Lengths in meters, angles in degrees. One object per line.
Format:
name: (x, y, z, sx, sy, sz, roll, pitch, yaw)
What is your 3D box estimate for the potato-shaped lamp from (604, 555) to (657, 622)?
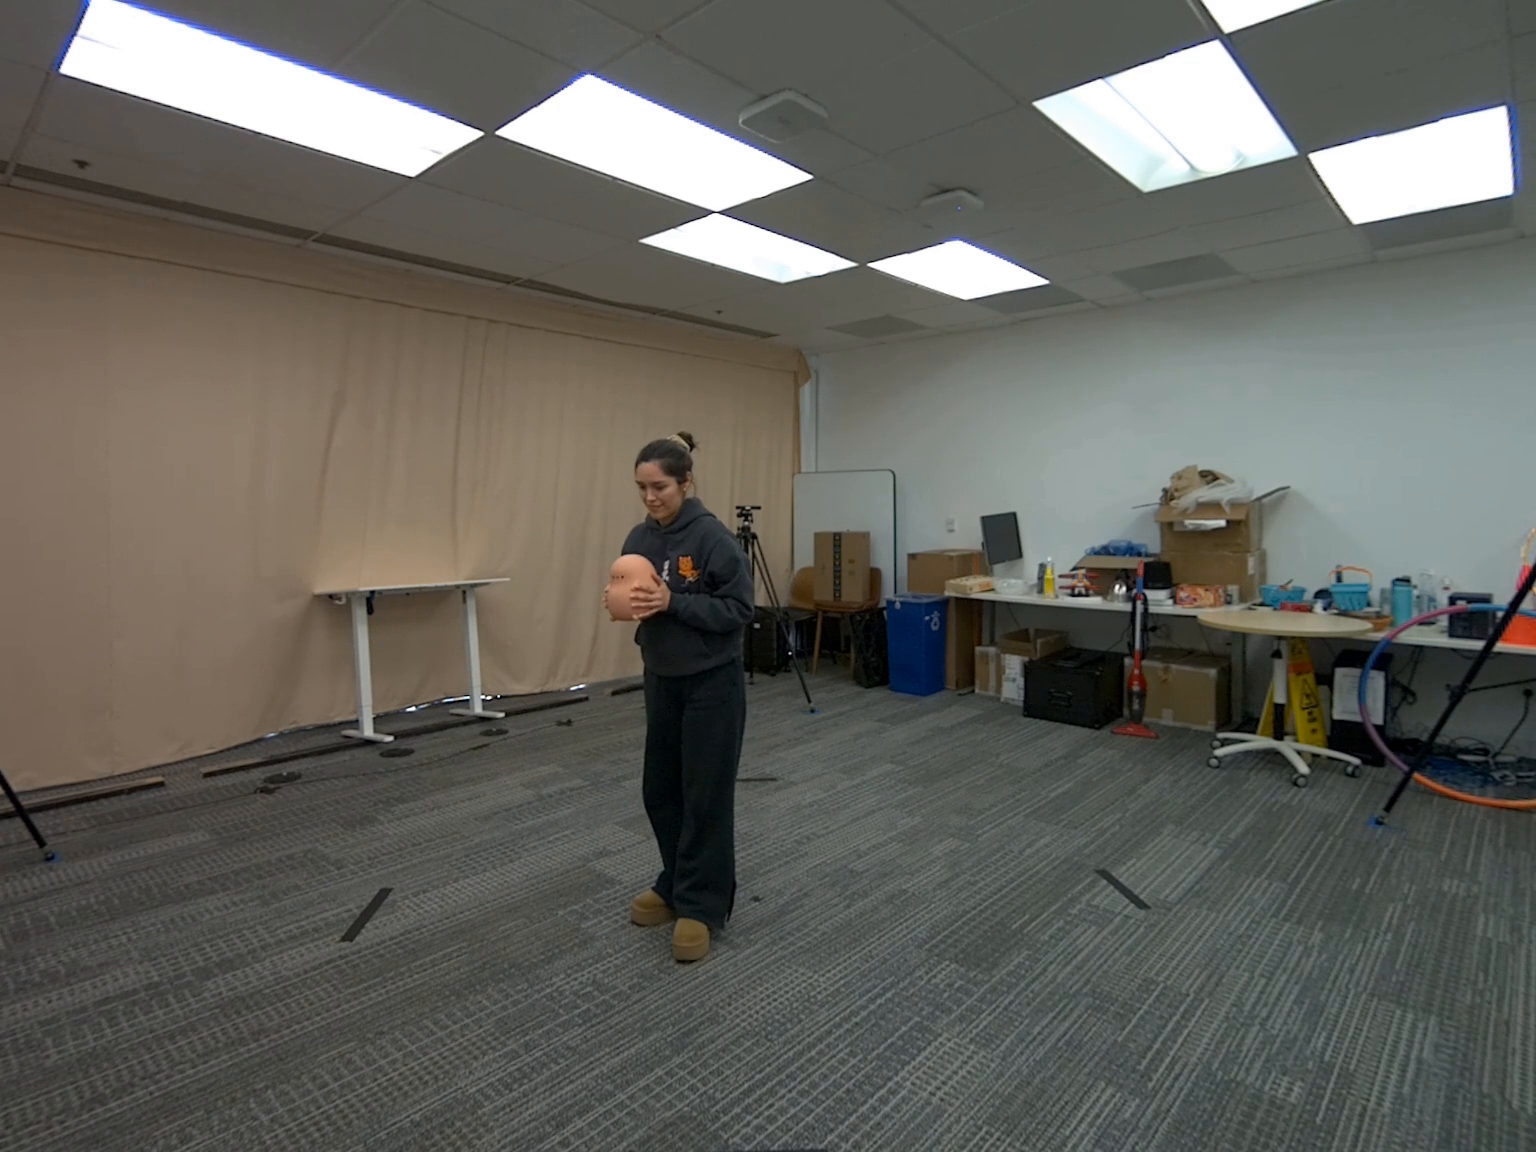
potato-shaped lamp: (-0.403, 0.038, 2.604, 0.170, 0.197, 0.167, -4, 11, 40)
